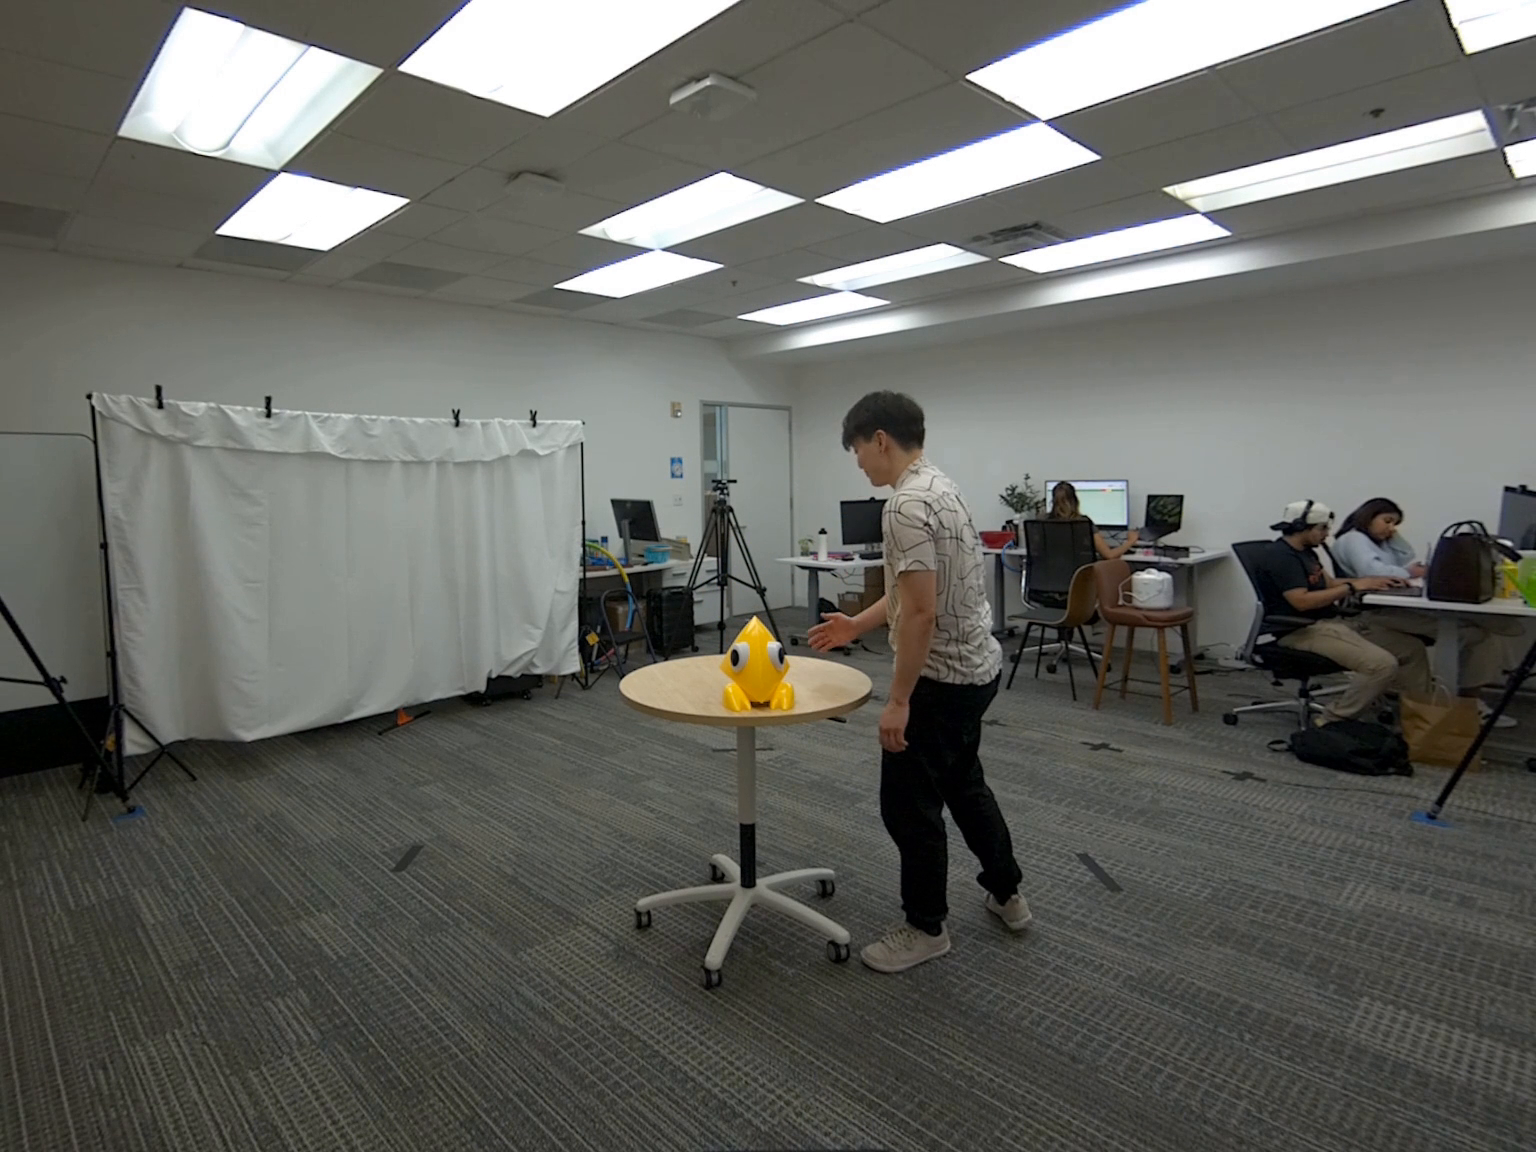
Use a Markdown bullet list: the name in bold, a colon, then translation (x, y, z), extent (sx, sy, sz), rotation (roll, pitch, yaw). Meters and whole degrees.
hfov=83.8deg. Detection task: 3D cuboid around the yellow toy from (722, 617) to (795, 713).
- **yellow toy**: translation (-0.018, 0.231, 2.361), extent (0.204, 0.230, 0.194), rotation (-1, 1, -5)
